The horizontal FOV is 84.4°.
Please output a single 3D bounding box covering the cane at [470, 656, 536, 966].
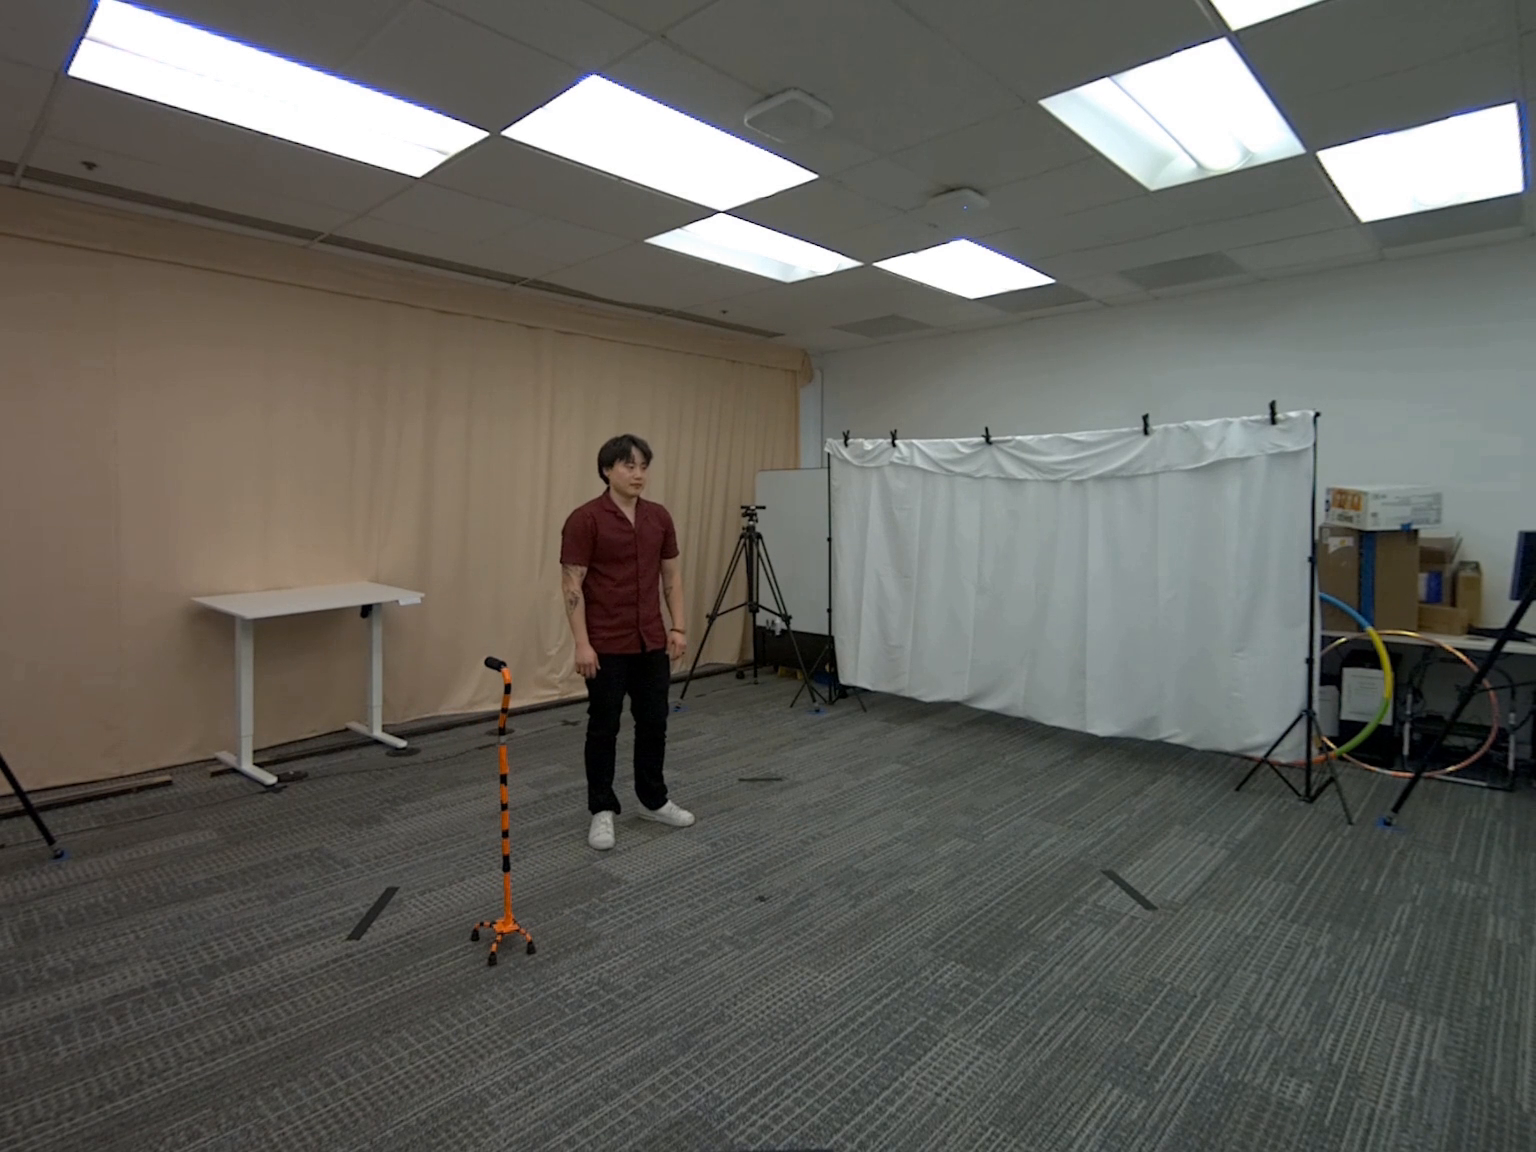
[{"bbox_3d":[-0.843,0.719,2.662,0.147,0.907,0.213,-2,3,-34],"label":"cane"}]
